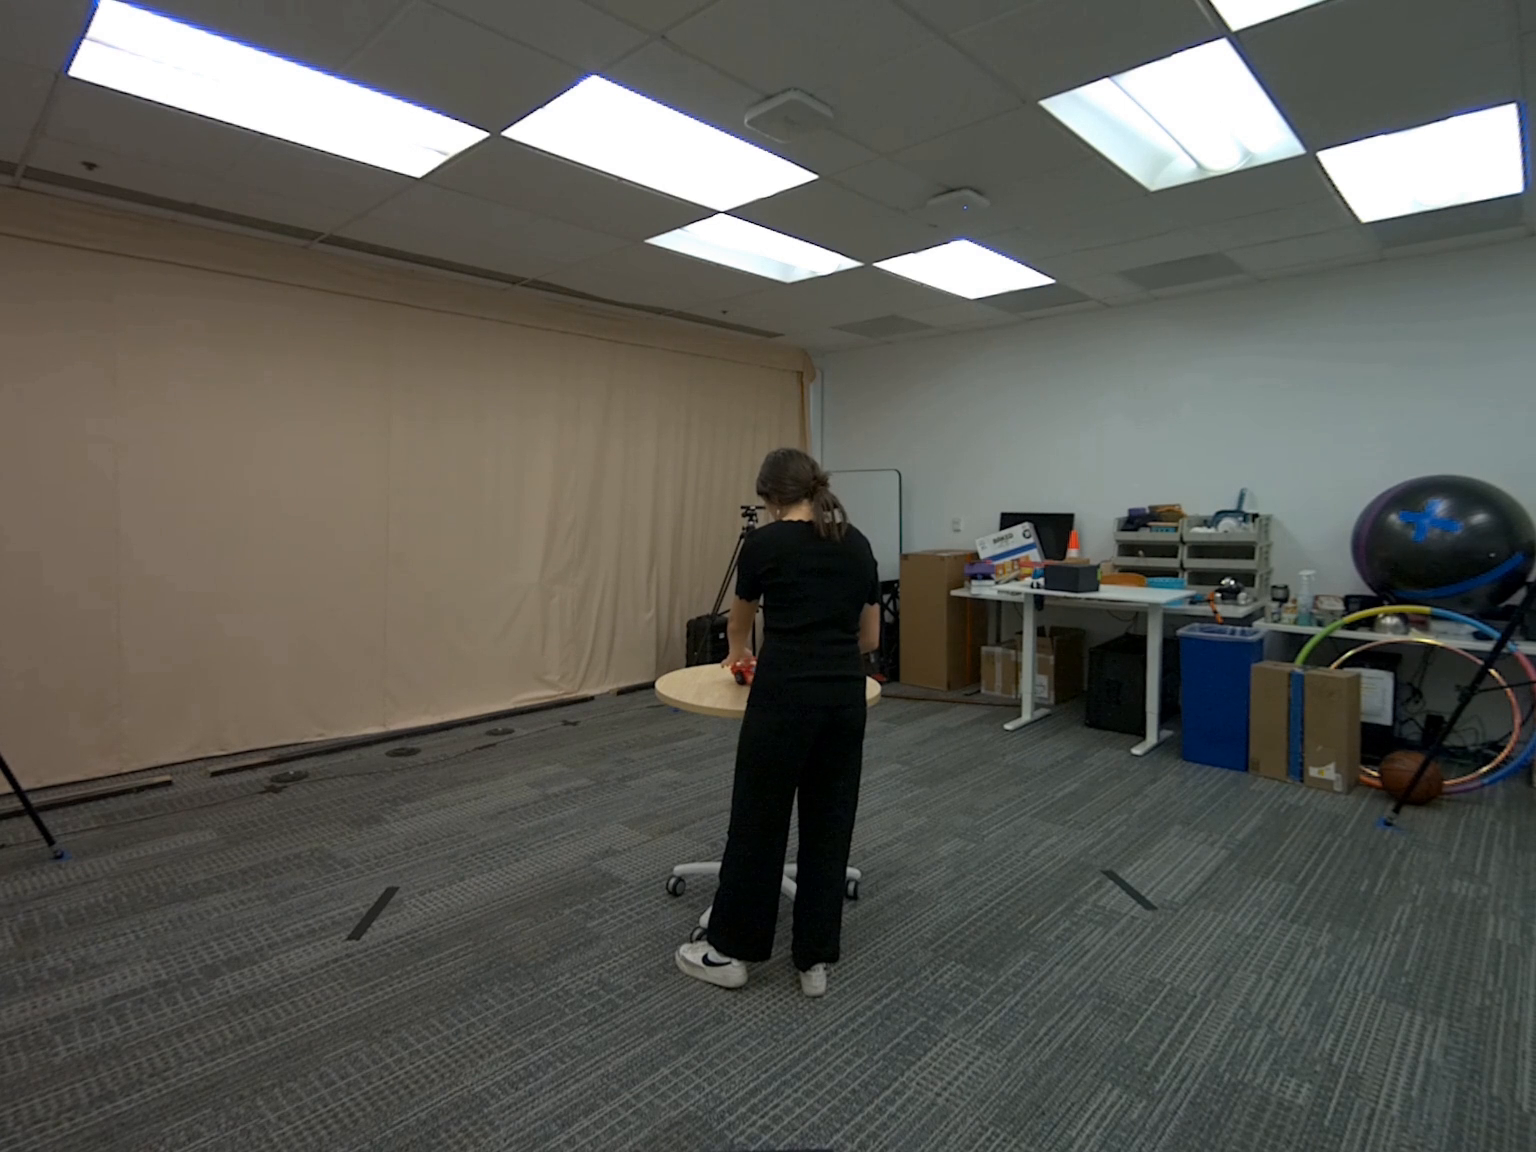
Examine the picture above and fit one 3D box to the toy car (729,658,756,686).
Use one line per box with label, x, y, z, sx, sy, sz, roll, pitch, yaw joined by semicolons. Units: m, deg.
toy car;-0.016;0.340;2.860;0.126;0.082;0.264;-6;19;-40
